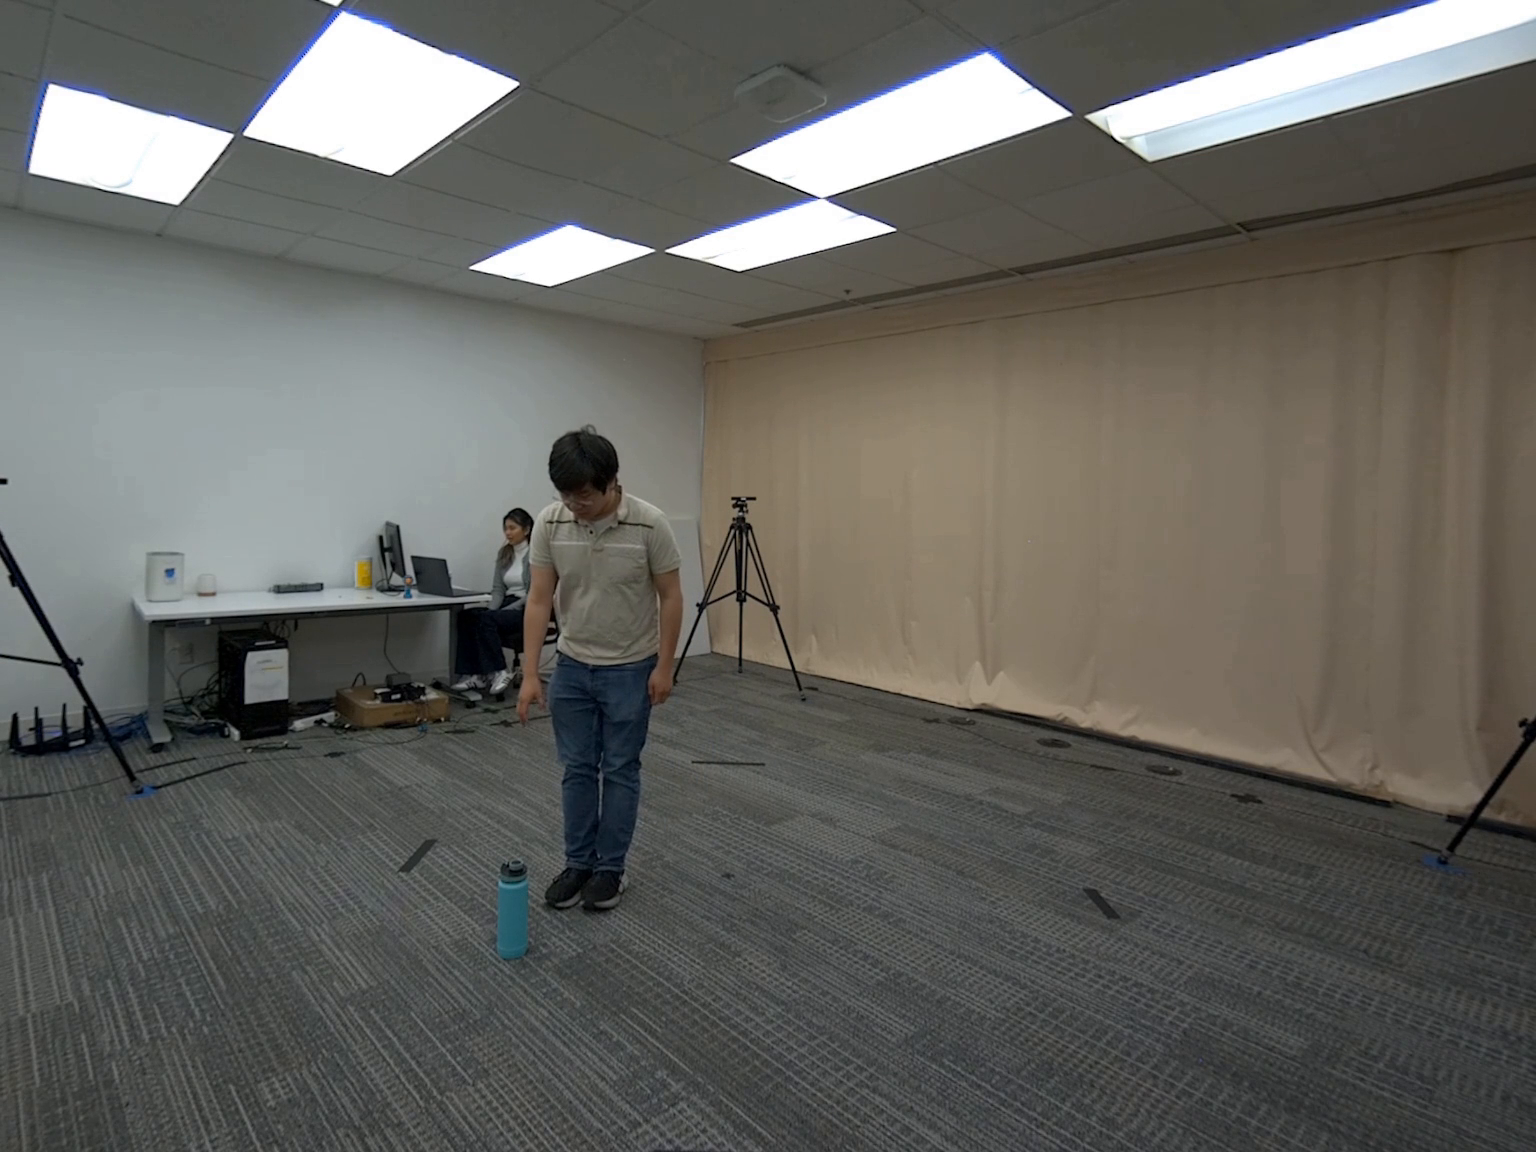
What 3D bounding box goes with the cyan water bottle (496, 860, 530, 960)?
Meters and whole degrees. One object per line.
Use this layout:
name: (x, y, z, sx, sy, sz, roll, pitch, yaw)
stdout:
cyan water bottle: (-0.791, 1.005, 2.547, 0.092, 0.283, 0.092, 1, 3, -1)
